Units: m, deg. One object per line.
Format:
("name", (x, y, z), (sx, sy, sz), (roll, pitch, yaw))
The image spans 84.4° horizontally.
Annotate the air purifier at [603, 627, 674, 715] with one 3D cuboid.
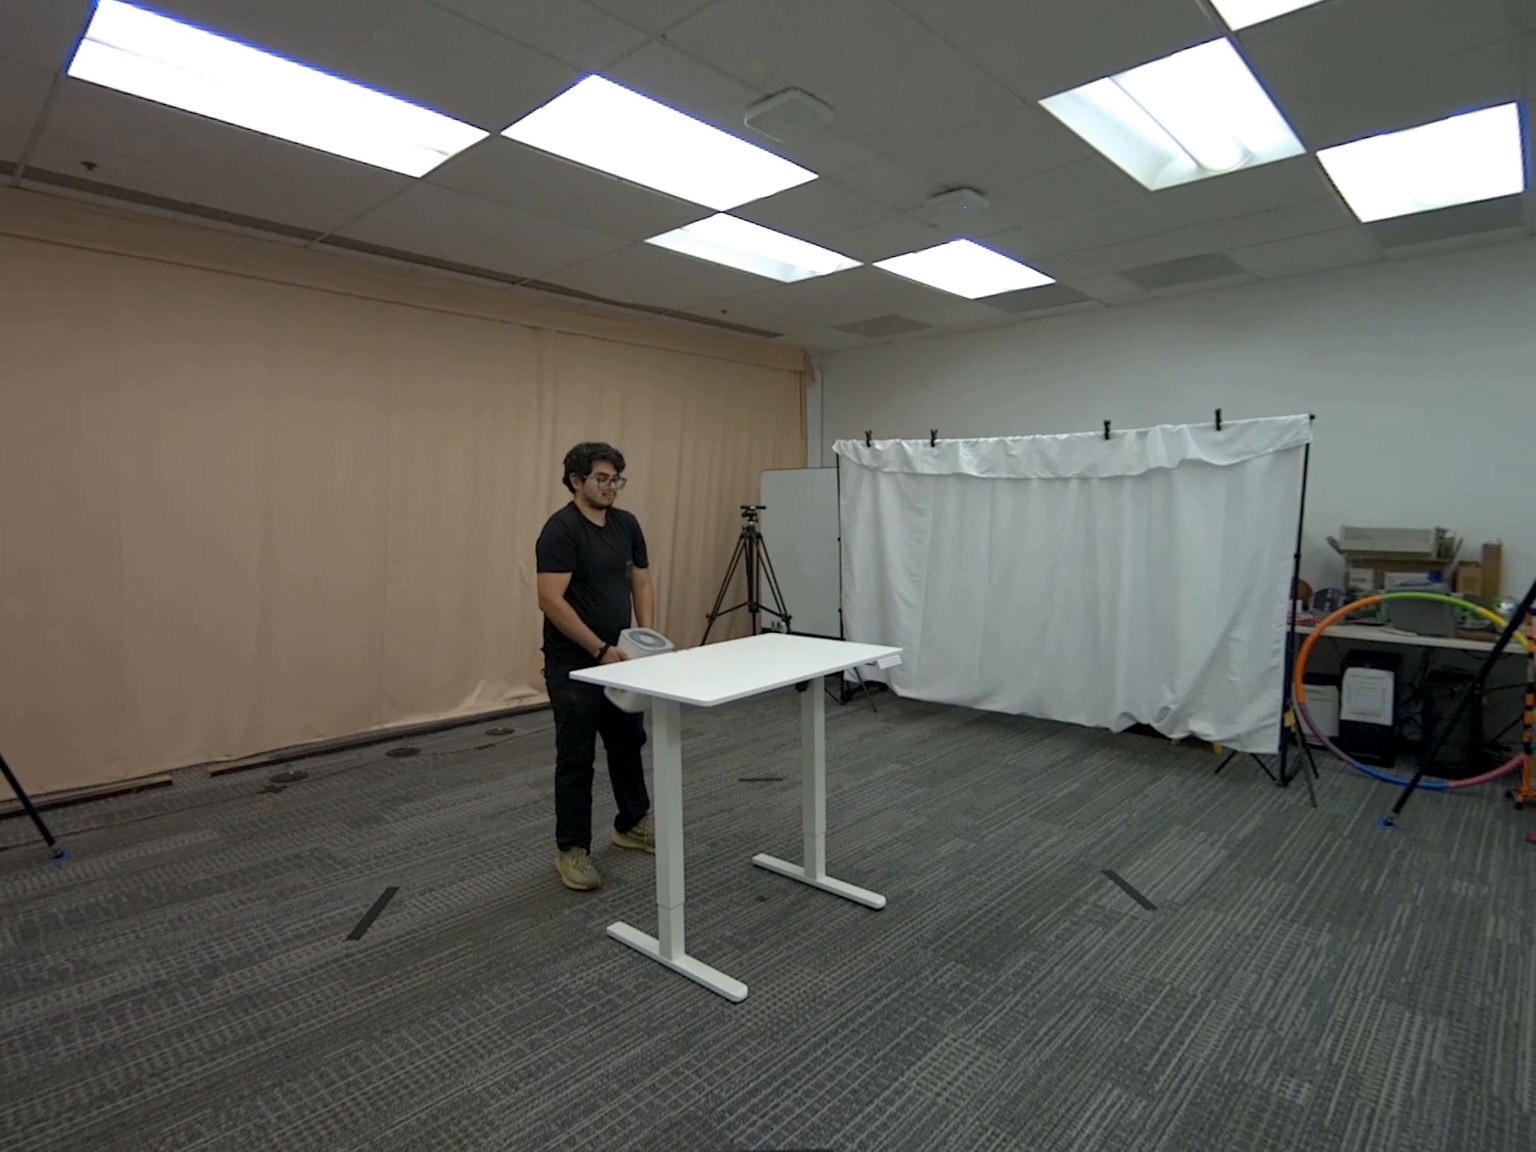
("air purifier", (-0.479, 0.350, 3.095), (0.178, 0.264, 0.166), (28, 18, 34))
